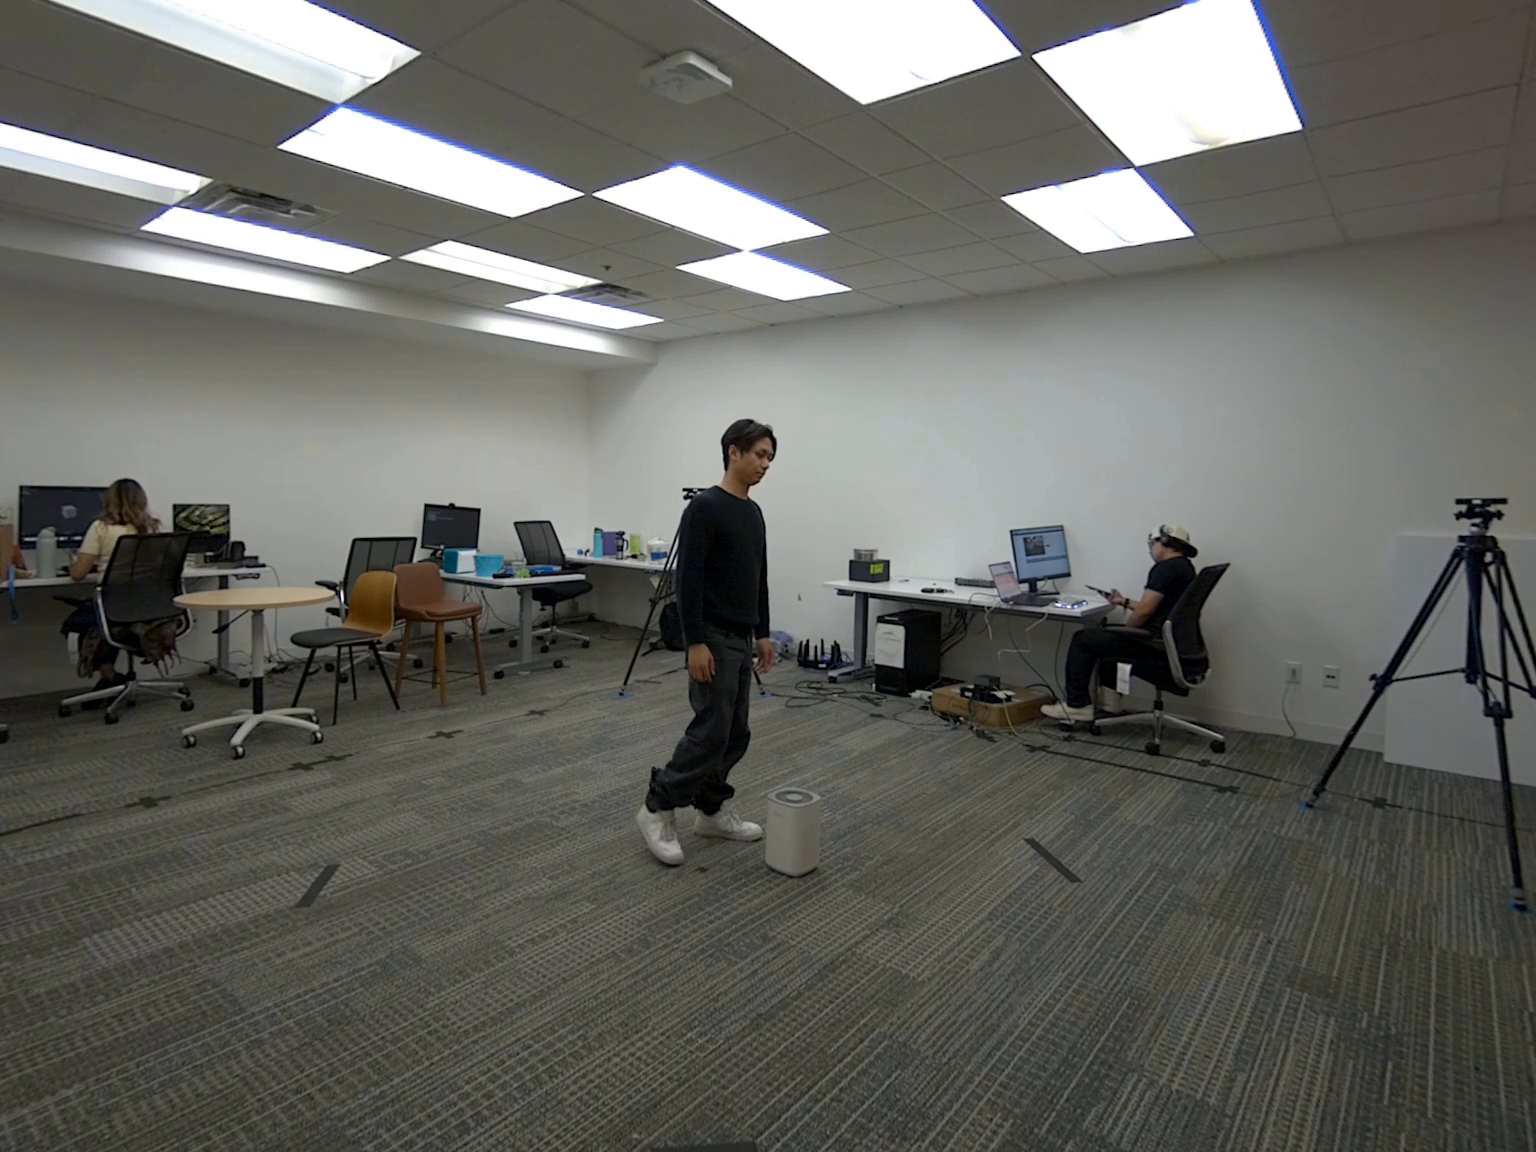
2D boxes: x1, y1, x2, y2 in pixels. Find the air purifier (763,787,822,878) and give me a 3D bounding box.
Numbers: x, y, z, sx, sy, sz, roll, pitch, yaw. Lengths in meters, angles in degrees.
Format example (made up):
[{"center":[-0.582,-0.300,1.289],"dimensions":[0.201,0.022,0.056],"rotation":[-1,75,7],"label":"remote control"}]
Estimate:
[{"center":[0.090,0.943,3.138],"dimensions":[0.177,0.264,0.166],"rotation":[5,5,43],"label":"air purifier"}]
